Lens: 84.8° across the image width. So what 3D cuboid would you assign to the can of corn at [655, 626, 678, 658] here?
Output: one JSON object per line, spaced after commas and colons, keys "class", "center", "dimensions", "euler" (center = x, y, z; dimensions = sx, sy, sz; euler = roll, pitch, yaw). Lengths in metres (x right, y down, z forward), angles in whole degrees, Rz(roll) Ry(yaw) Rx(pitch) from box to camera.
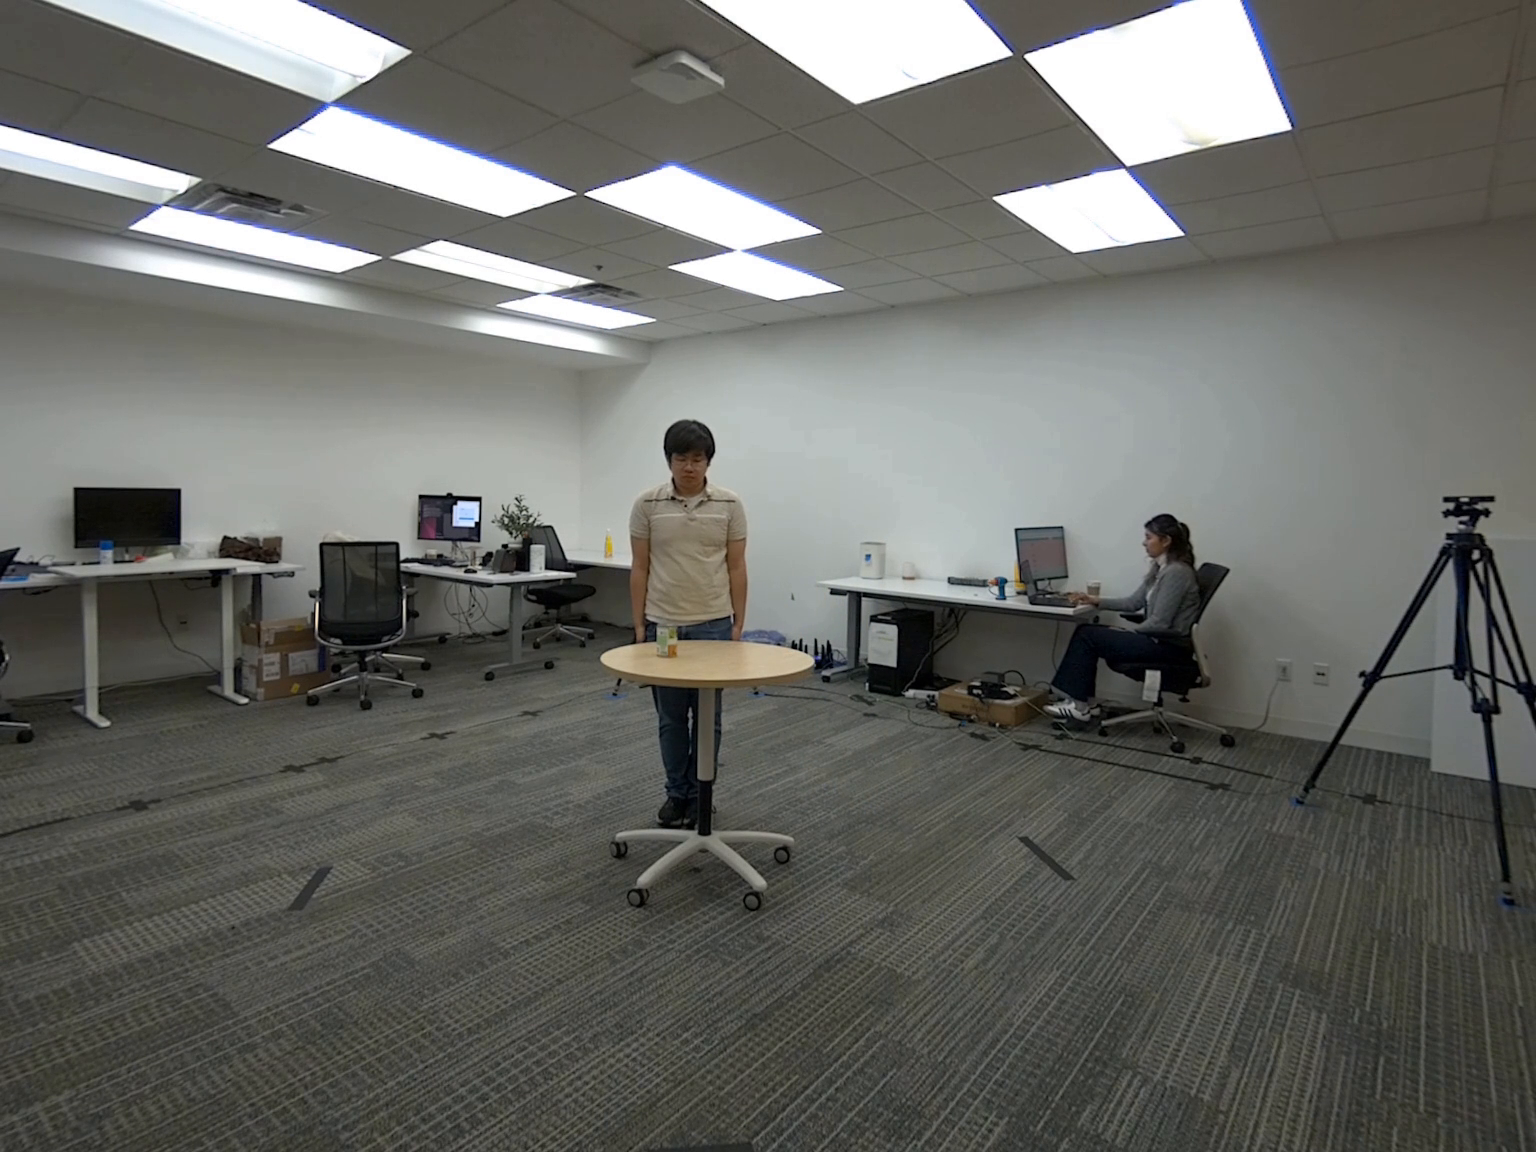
{"class": "can of corn", "center": [-0.384, 0.230, 3.076], "dimensions": [0.074, 0.111, 0.074], "euler": [-3, 2, -2]}
